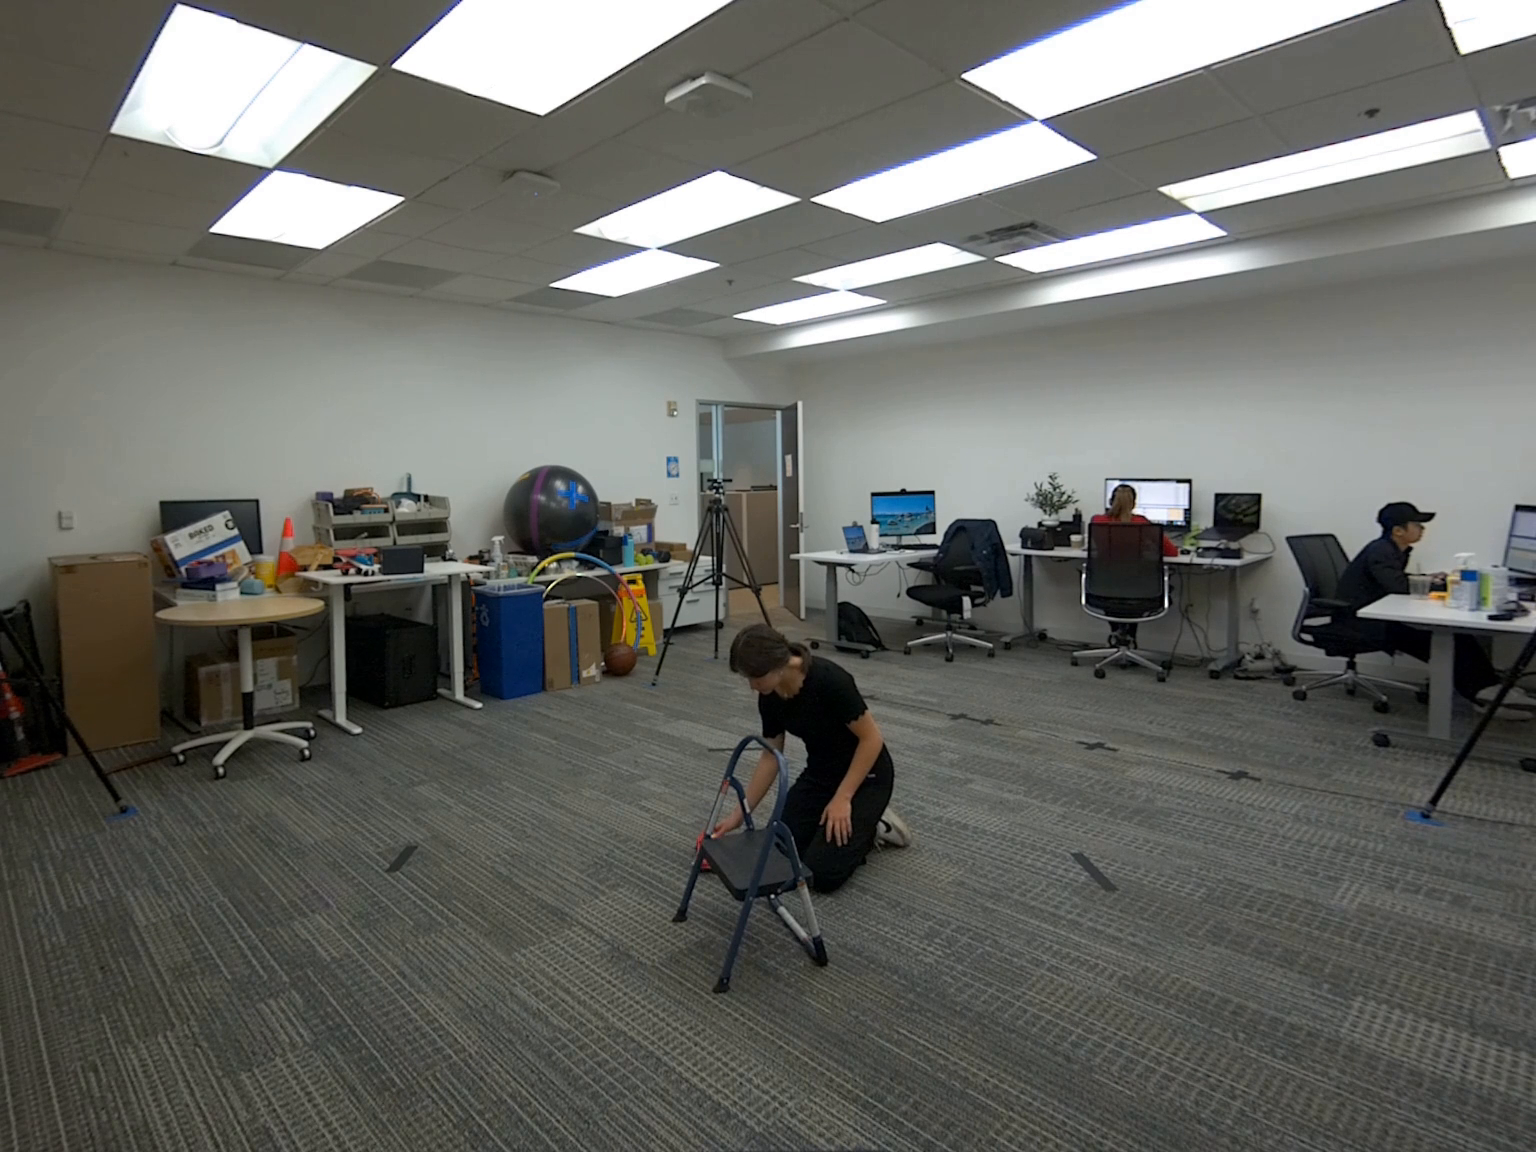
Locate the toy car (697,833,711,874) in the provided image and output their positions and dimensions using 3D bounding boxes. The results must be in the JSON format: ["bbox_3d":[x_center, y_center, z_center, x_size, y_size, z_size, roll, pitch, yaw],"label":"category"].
[{"bbox_3d":[-0.196,1.021,3.131,0.130,0.082,0.257,0,13,0],"label":"toy car"}]
